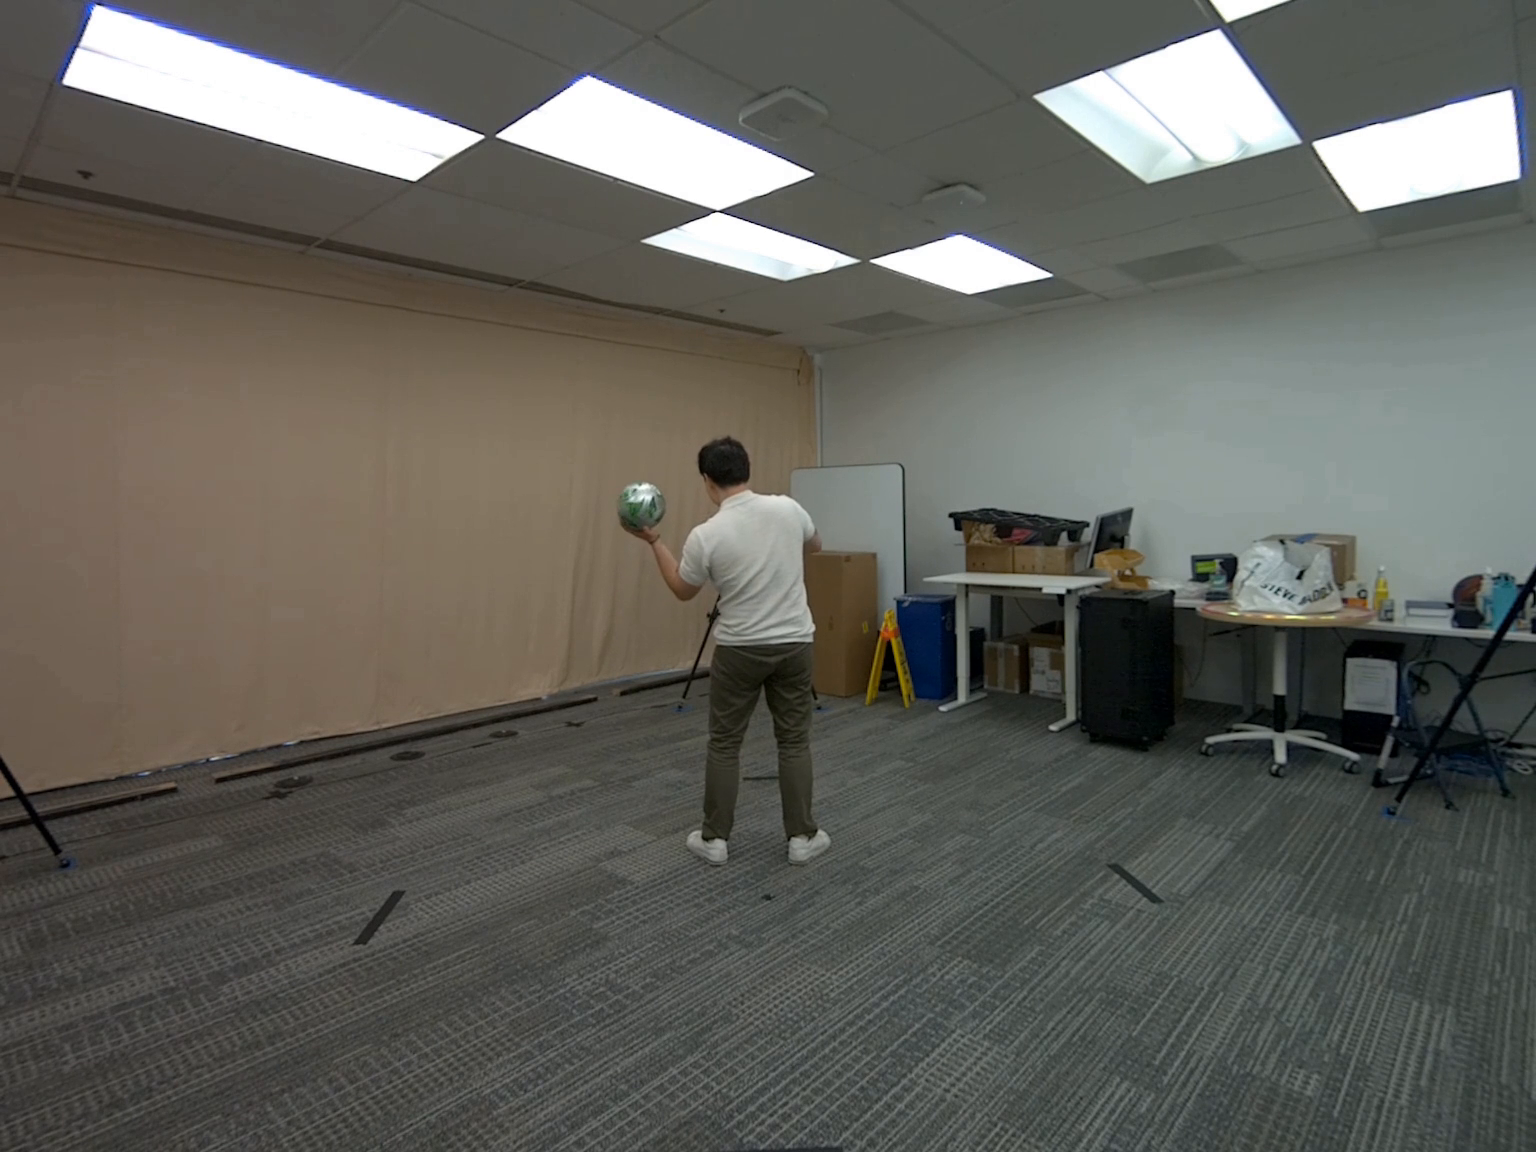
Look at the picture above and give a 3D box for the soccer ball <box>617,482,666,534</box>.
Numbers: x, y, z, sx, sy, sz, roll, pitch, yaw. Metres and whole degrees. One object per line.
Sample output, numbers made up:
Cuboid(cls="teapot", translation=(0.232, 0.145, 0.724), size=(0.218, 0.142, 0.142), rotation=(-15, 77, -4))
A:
Cuboid(cls="soccer ball", translation=(-0.476, -0.262, 3.233), size=(0.187, 0.187, 0.188), rotation=(-1, 4, -2))
